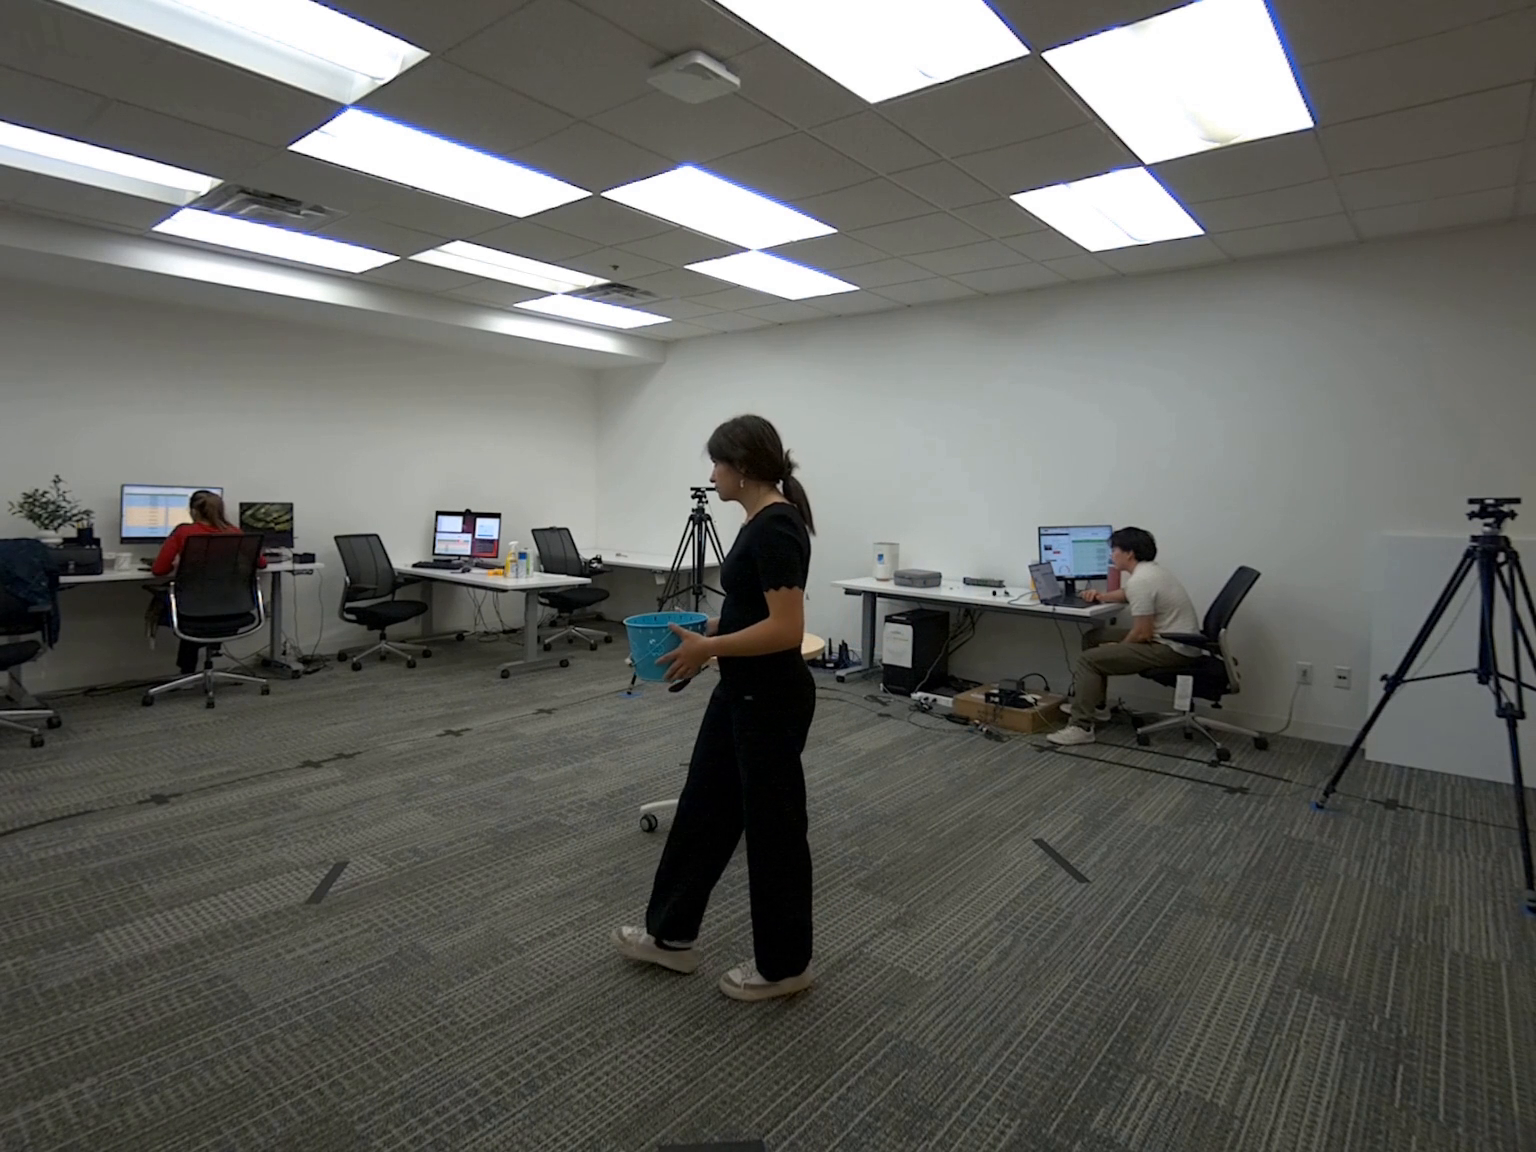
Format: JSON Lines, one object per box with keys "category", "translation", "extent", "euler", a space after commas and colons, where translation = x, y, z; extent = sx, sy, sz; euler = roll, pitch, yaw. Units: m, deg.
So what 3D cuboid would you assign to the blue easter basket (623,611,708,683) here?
{"category": "blue easter basket", "translation": [-0.291, 0.195, 2.328], "extent": [0.243, 0.155, 0.245], "euler": [-2, 5, -2]}
